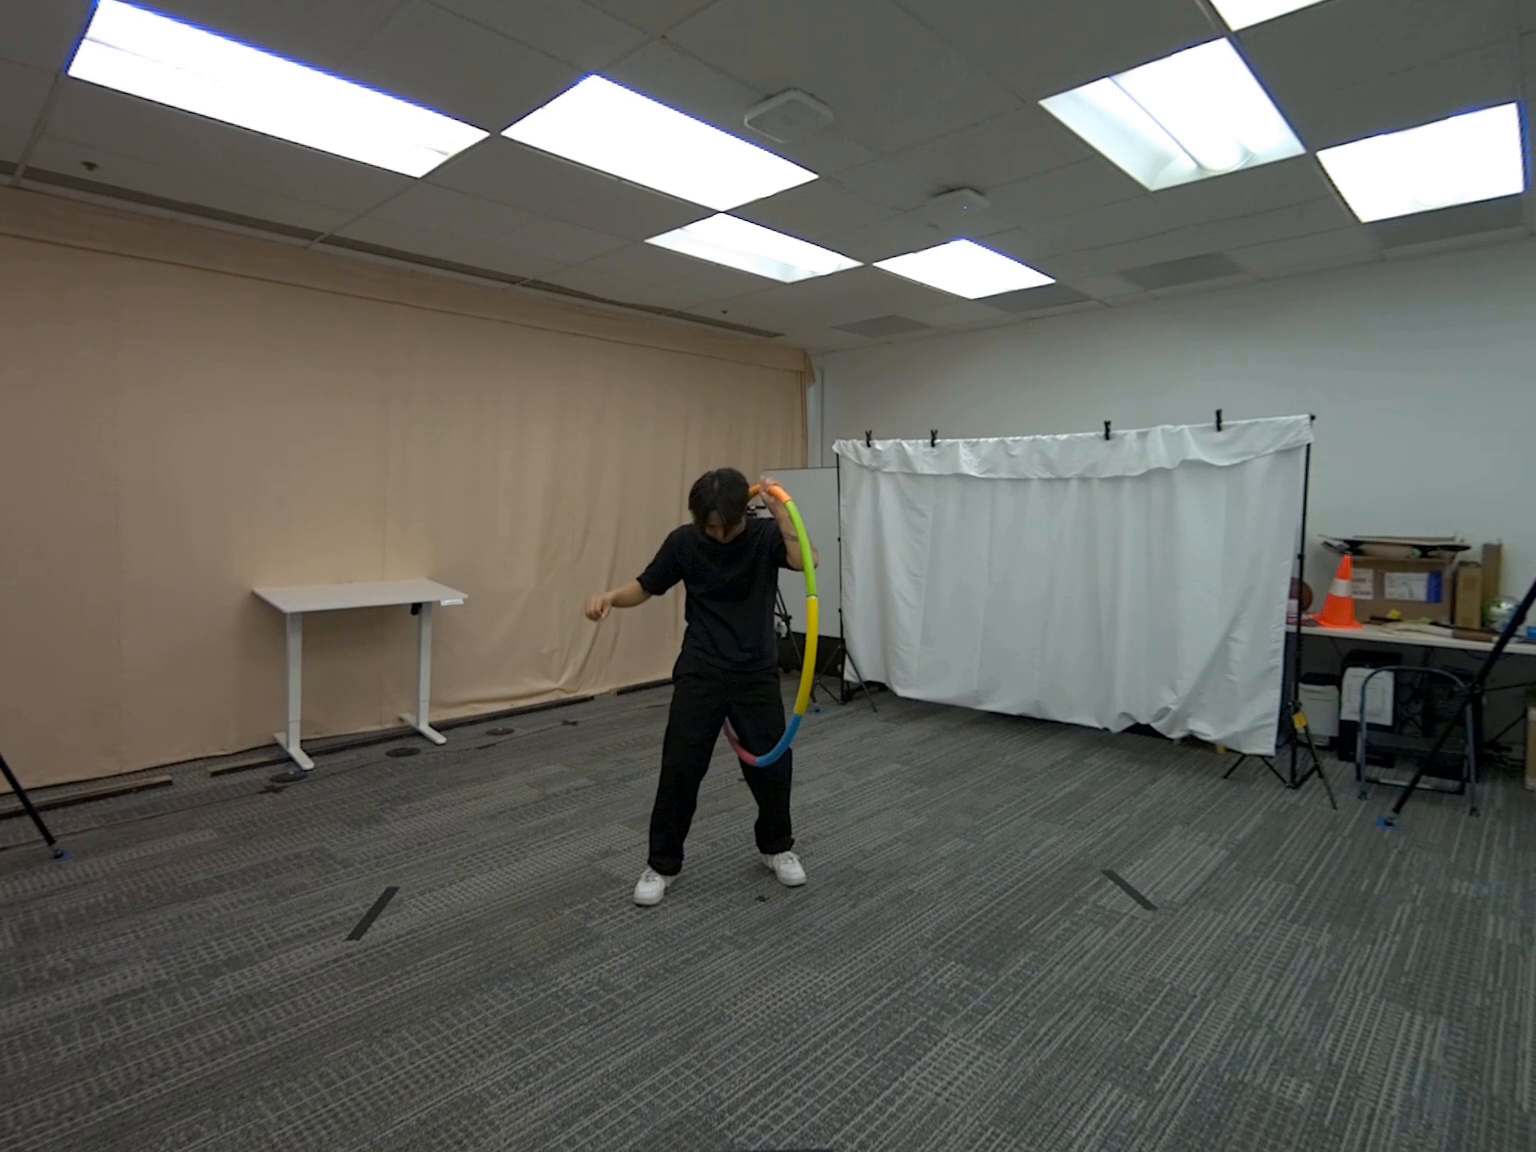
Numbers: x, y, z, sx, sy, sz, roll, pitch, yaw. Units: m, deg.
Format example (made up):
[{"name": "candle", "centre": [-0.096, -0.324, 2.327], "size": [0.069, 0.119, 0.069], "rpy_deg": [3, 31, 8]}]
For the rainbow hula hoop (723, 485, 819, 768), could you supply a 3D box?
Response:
[{"name": "rainbow hula hoop", "centre": [-0.044, 0.156, 3.012], "size": [0.035, 0.978, 1.000], "rpy_deg": [5, 2, -22]}]
